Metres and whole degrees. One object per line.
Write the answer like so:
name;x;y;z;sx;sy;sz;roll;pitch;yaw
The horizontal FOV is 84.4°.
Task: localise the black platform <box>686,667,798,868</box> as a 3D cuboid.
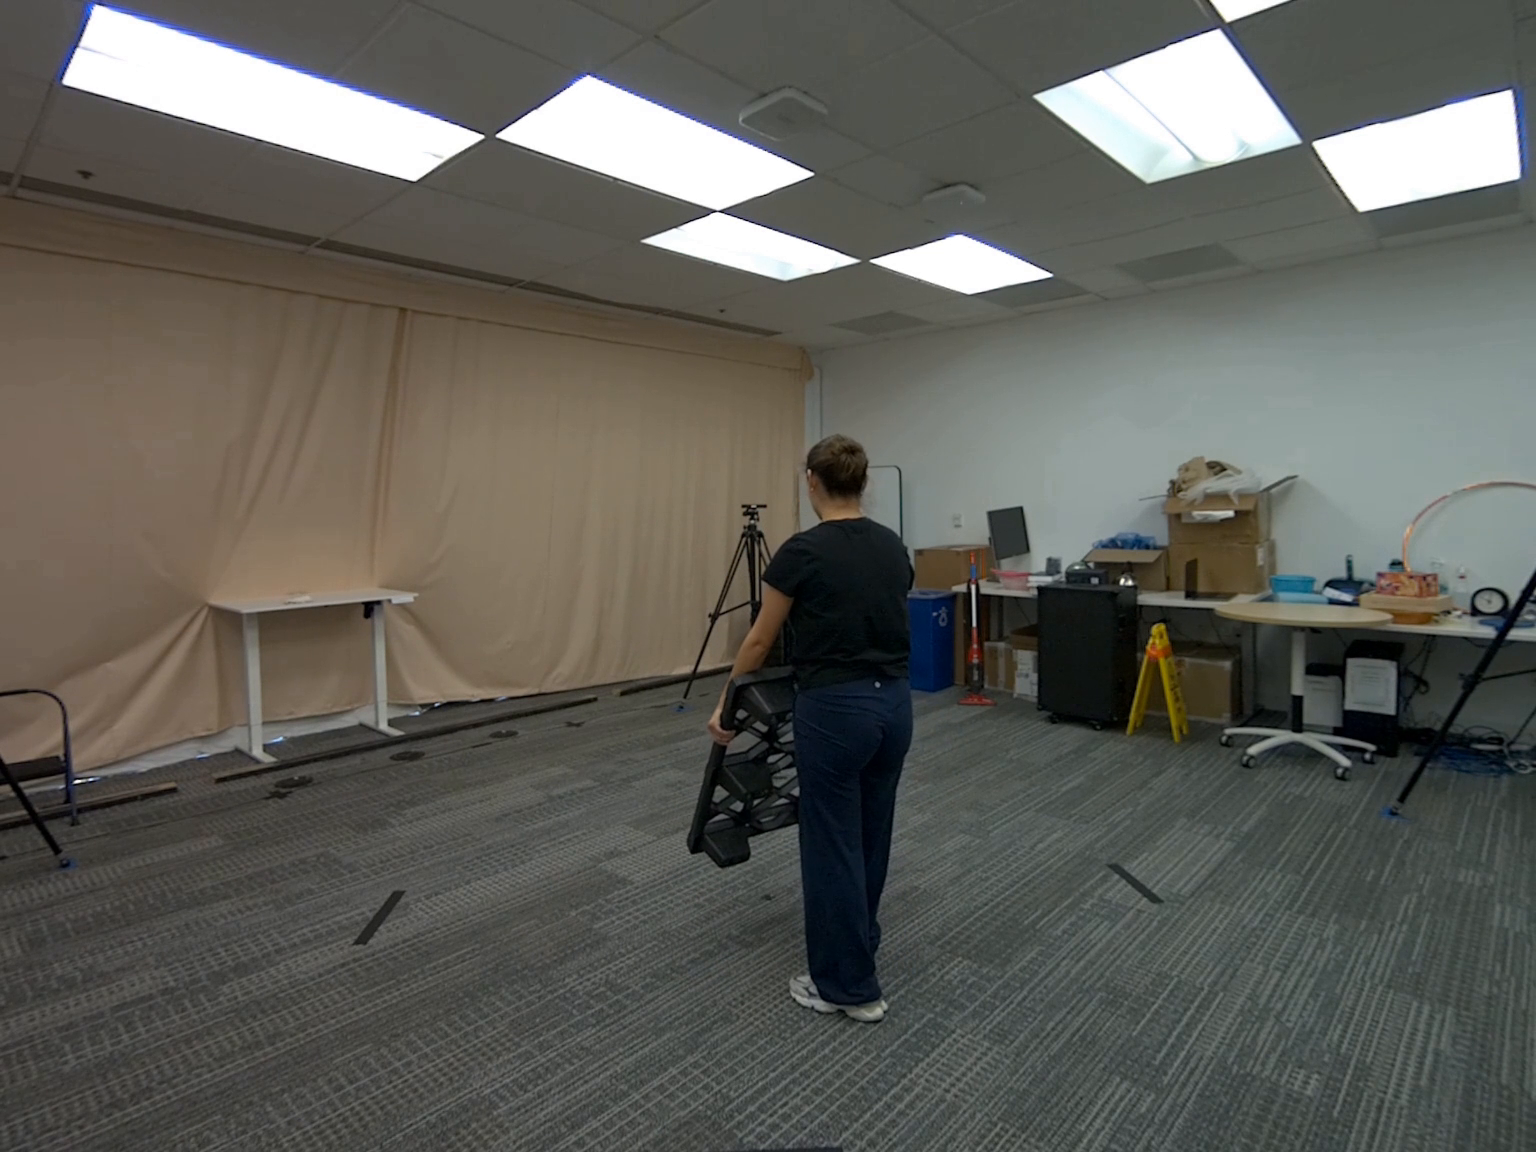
black platform;0.111;0.588;2.642;0.591;0.797;0.148;-8;41;-27
